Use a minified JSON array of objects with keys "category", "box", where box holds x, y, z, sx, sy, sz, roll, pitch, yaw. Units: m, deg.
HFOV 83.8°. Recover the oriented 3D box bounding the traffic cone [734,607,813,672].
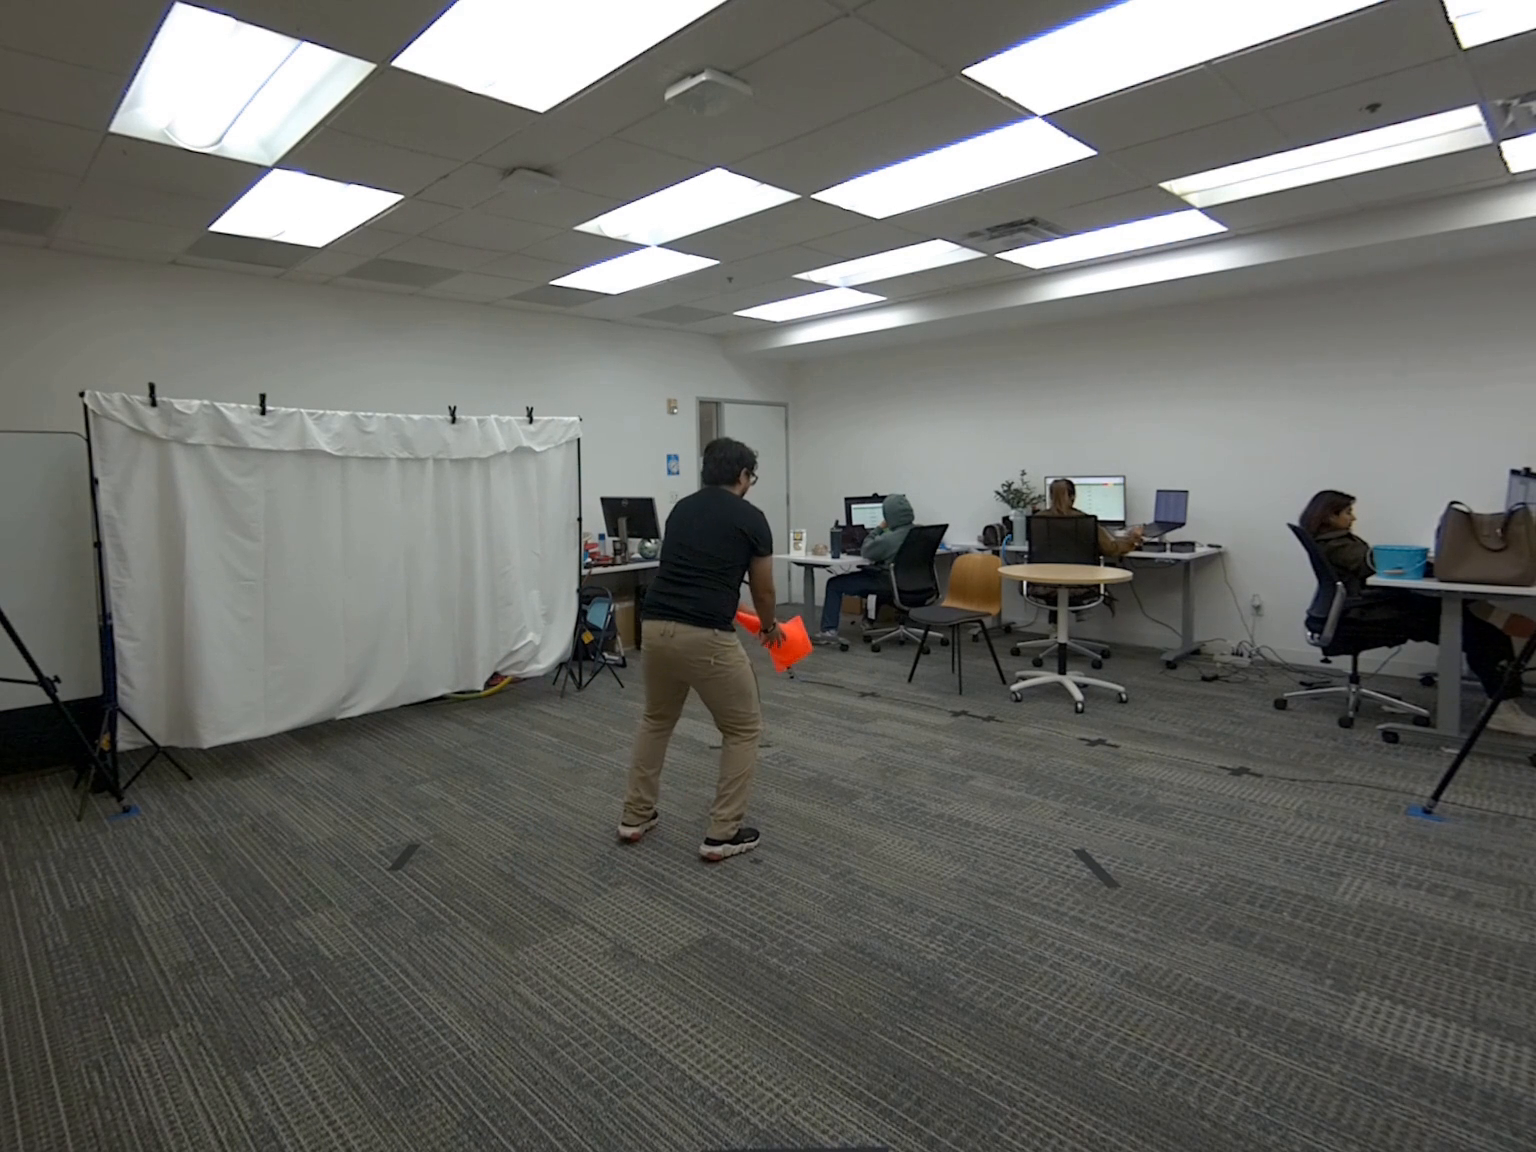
[{"category":"traffic cone","box":[-0.019,0.244,3.637,0.205,0.211,0.369,-39,-42,19]}]
